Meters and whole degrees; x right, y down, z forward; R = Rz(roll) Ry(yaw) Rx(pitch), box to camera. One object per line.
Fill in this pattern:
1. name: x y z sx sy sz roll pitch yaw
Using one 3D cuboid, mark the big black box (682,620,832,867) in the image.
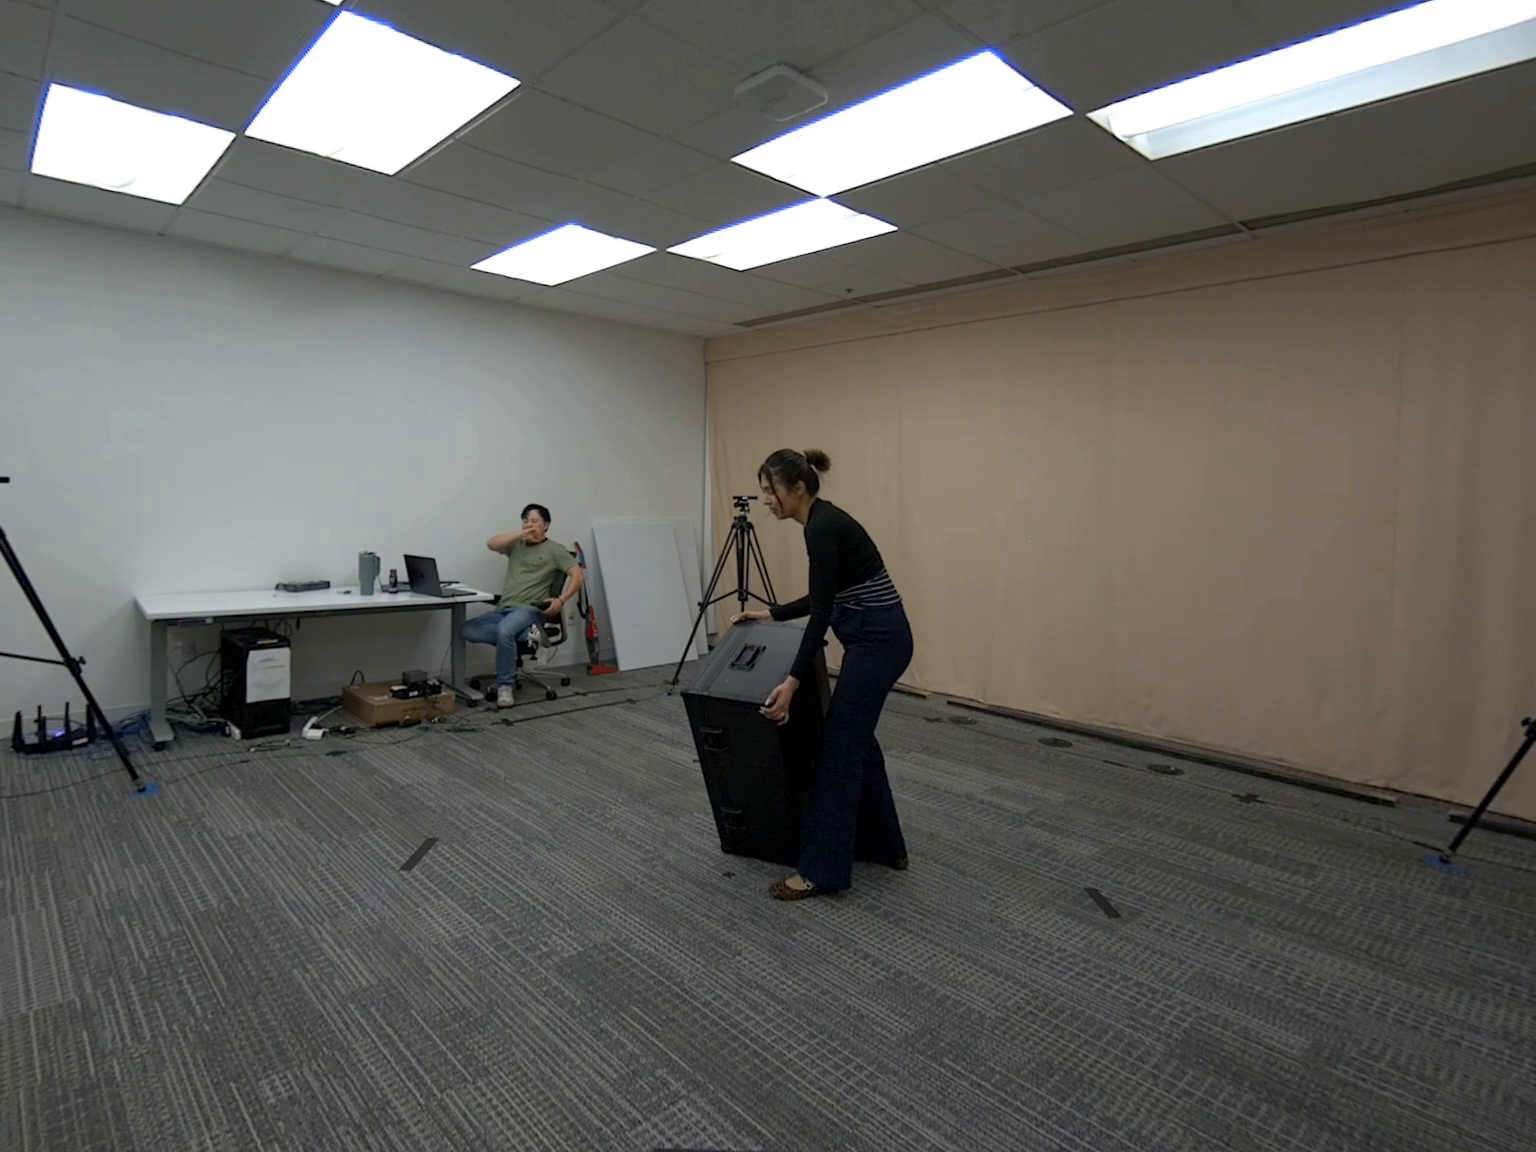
1. big black box: 0.016 0.654 3.240 0.404 0.843 0.522 4 31 25
